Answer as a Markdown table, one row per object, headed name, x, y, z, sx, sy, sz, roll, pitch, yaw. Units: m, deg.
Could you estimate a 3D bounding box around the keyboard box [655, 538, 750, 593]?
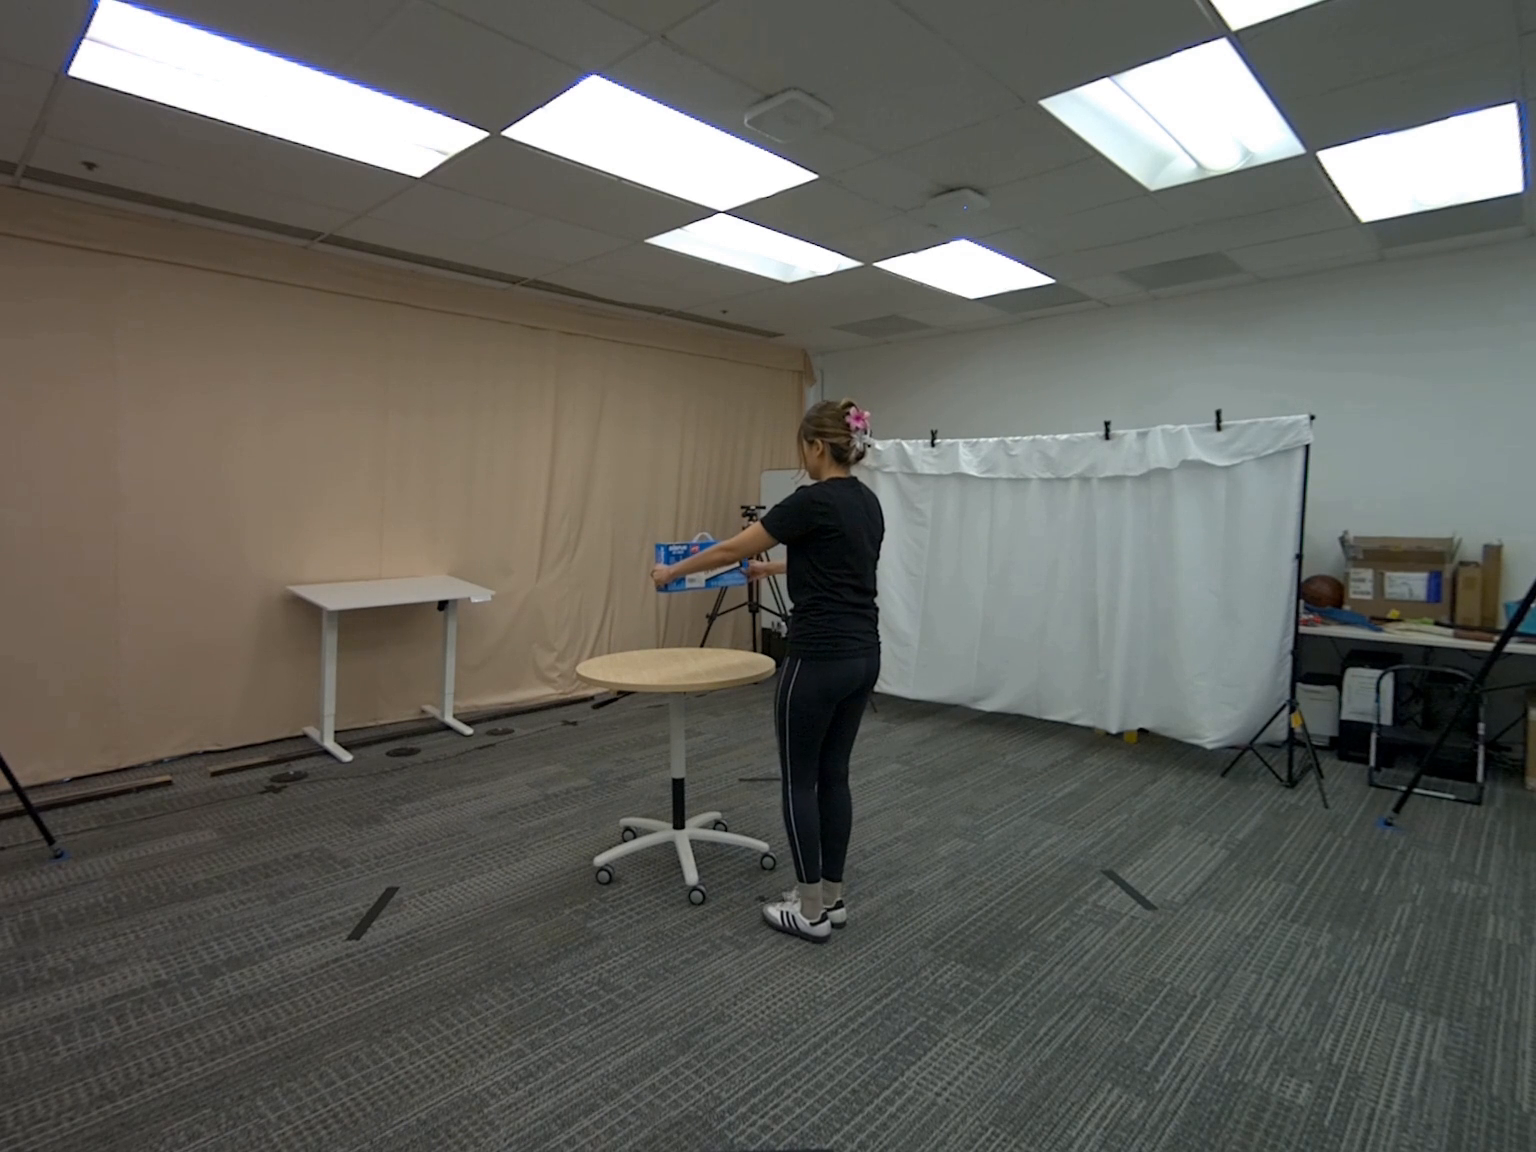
| name | x | y | z | sx | sy | sz | roll | pitch | yaw |
| --- | --- | --- | --- | --- | --- | --- | --- | --- | --- |
| keyboard box | -0.237 | -0.037 | 3.119 | 0.061 | 0.175 | 0.424 | 1 | 5 | 40 |
